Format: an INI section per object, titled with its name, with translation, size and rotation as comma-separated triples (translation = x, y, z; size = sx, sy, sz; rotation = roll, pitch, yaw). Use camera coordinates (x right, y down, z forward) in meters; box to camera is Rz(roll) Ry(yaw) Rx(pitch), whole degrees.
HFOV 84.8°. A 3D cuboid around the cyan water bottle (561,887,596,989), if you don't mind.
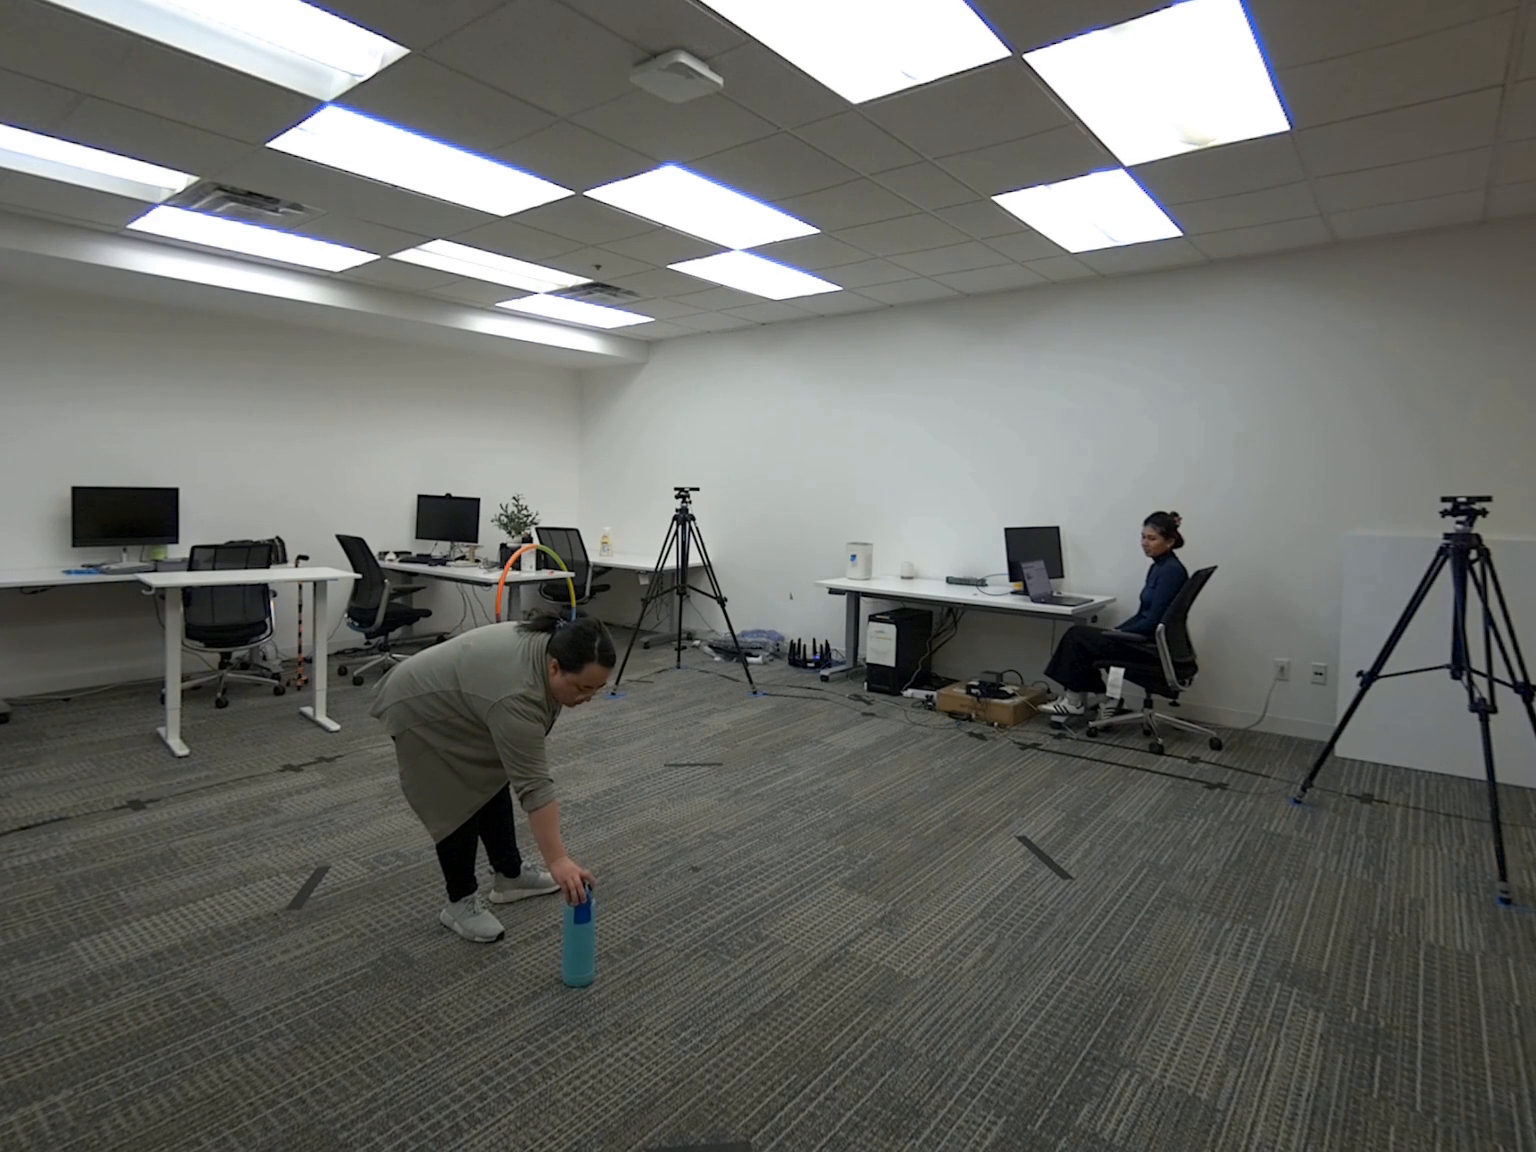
[cyan water bottle]
translation = -0.540, 0.988, 2.389
size = 0.092, 0.283, 0.092
rotation = 2, 1, -2
